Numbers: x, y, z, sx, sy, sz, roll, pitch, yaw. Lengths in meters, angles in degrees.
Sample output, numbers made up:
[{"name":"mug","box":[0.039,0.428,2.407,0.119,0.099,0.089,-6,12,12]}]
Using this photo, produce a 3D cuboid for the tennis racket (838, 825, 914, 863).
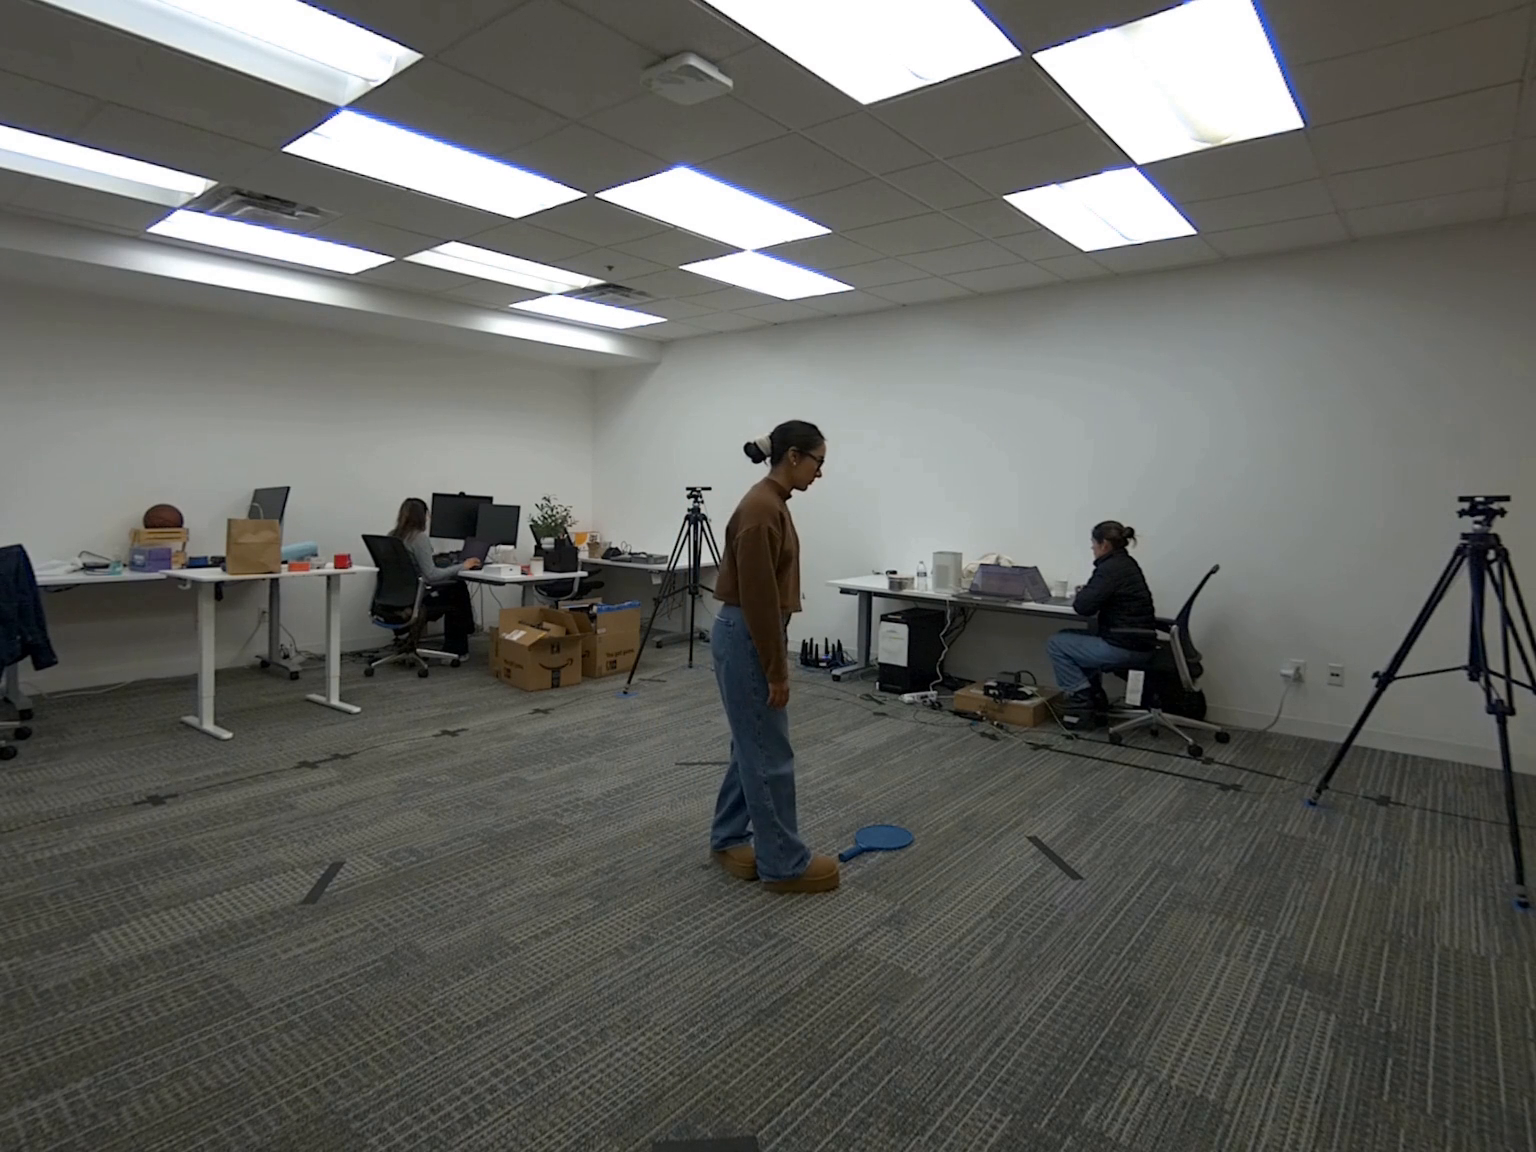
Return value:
[{"name":"tennis racket","box":[0.403,1.039,3.346,0.221,0.031,0.420,5,6,42]}]
